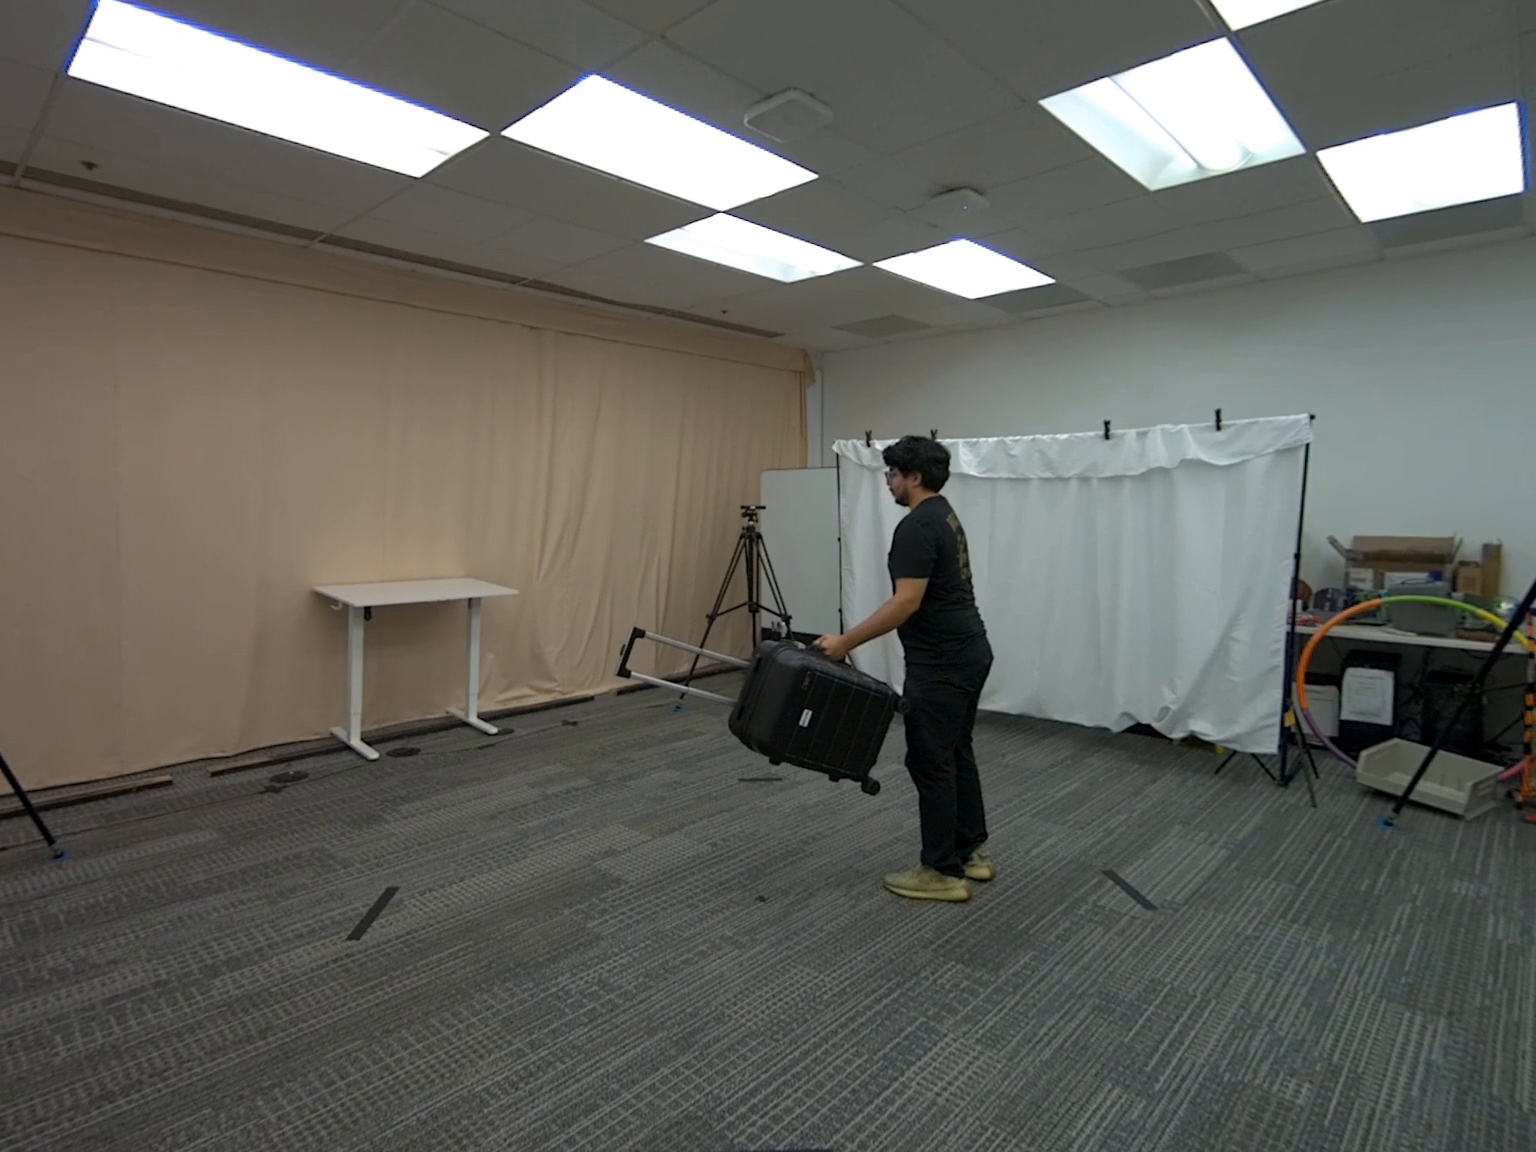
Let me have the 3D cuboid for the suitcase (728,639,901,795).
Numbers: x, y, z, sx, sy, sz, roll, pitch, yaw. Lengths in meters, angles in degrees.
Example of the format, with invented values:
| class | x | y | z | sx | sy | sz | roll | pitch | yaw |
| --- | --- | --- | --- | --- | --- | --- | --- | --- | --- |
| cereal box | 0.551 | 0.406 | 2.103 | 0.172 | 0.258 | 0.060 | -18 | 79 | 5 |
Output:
| class | x | y | z | sx | sy | sz | roll | pitch | yaw |
| --- | --- | --- | --- | --- | --- | --- | --- | --- | --- |
| suitcase | 0.004 | 0.399 | 2.720 | 0.947 | 0.384 | 0.265 | 23 | -2 | -31 |
